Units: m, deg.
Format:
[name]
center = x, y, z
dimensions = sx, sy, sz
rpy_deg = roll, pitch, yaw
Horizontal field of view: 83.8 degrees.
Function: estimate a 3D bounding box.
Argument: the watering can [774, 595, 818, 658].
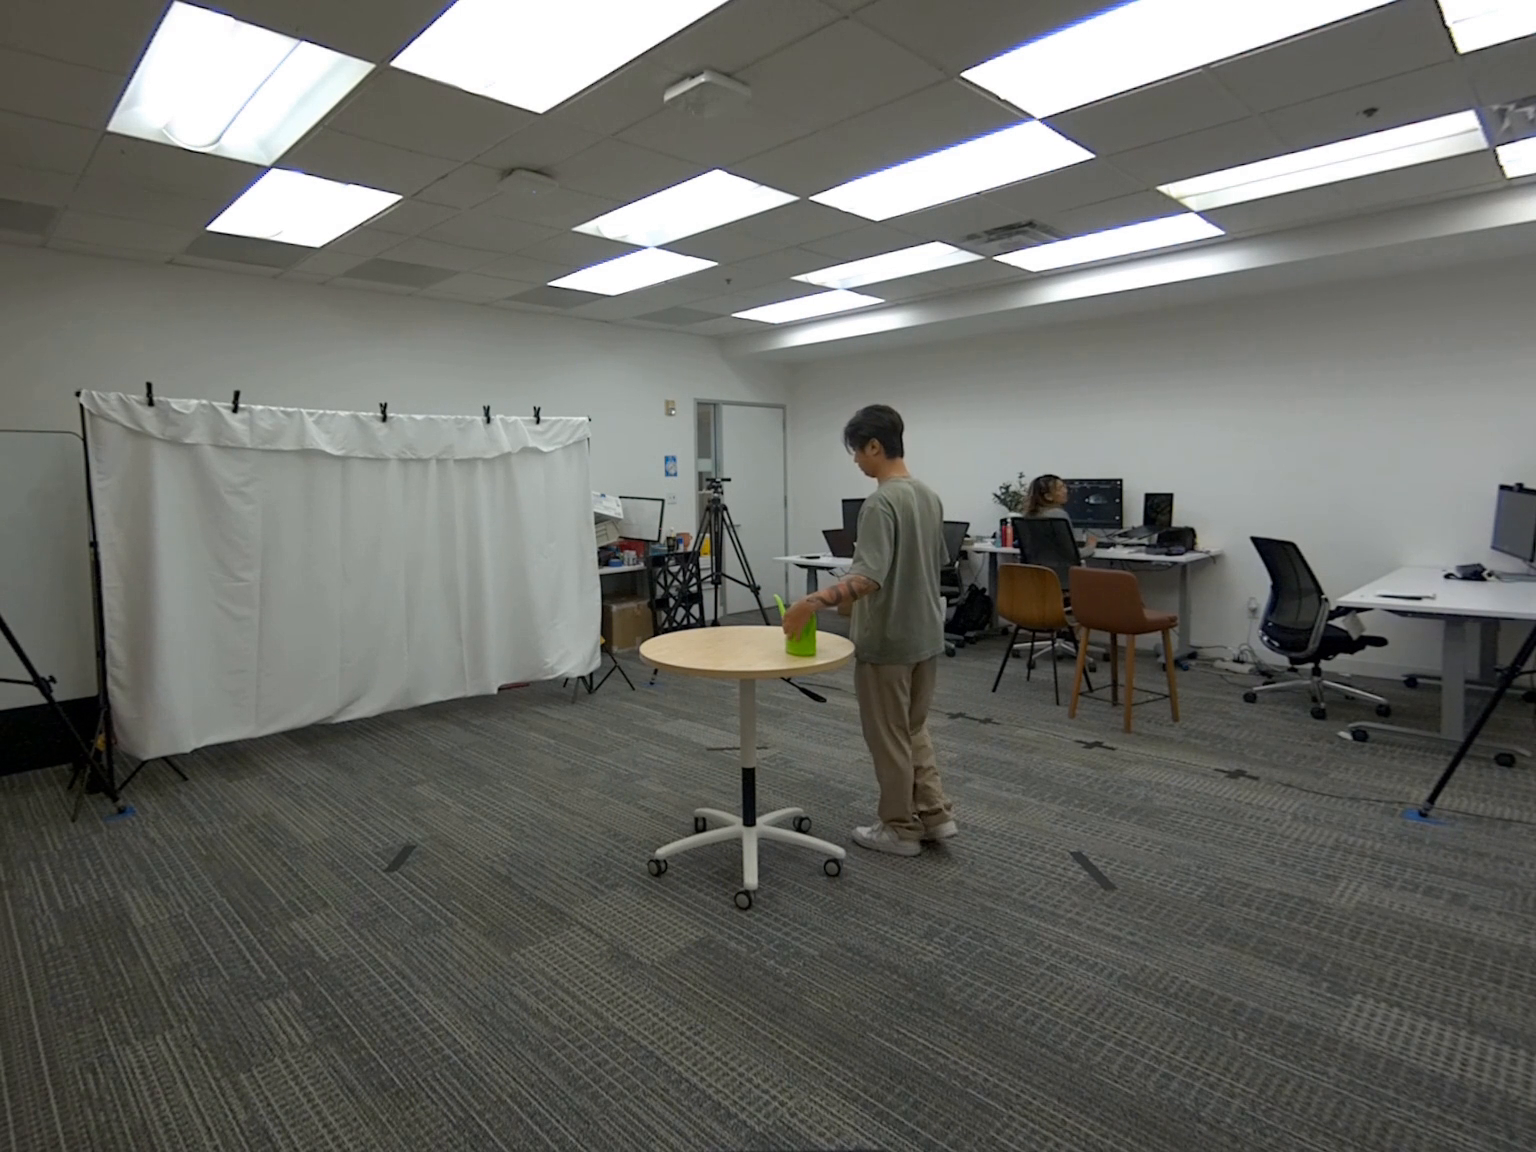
[watering can]
center = 0.117, 0.173, 2.964
dimensions = 0.097, 0.176, 0.282
rpy_deg = 2, 6, -11
